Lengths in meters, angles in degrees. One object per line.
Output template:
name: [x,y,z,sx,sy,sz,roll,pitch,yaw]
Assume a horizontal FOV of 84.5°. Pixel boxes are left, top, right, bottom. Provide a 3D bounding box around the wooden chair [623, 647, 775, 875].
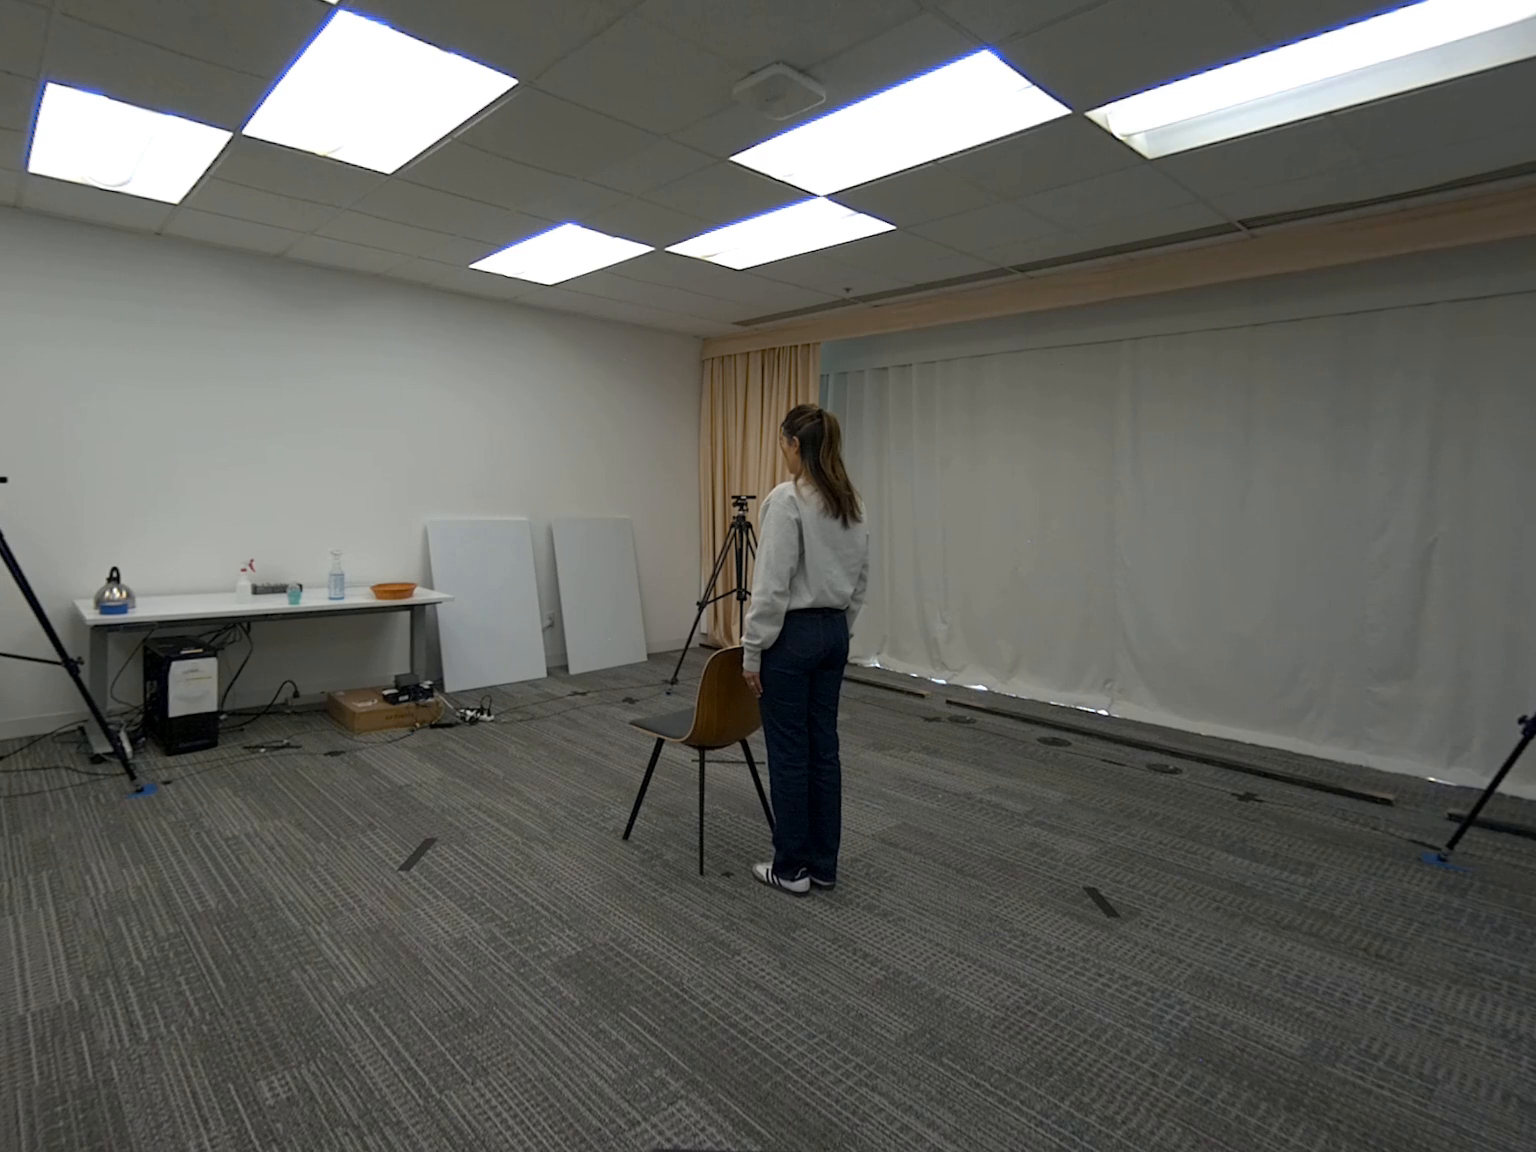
wooden chair: [-0.272,0.647,3.375,0.537,0.873,0.467,10,9,41]
